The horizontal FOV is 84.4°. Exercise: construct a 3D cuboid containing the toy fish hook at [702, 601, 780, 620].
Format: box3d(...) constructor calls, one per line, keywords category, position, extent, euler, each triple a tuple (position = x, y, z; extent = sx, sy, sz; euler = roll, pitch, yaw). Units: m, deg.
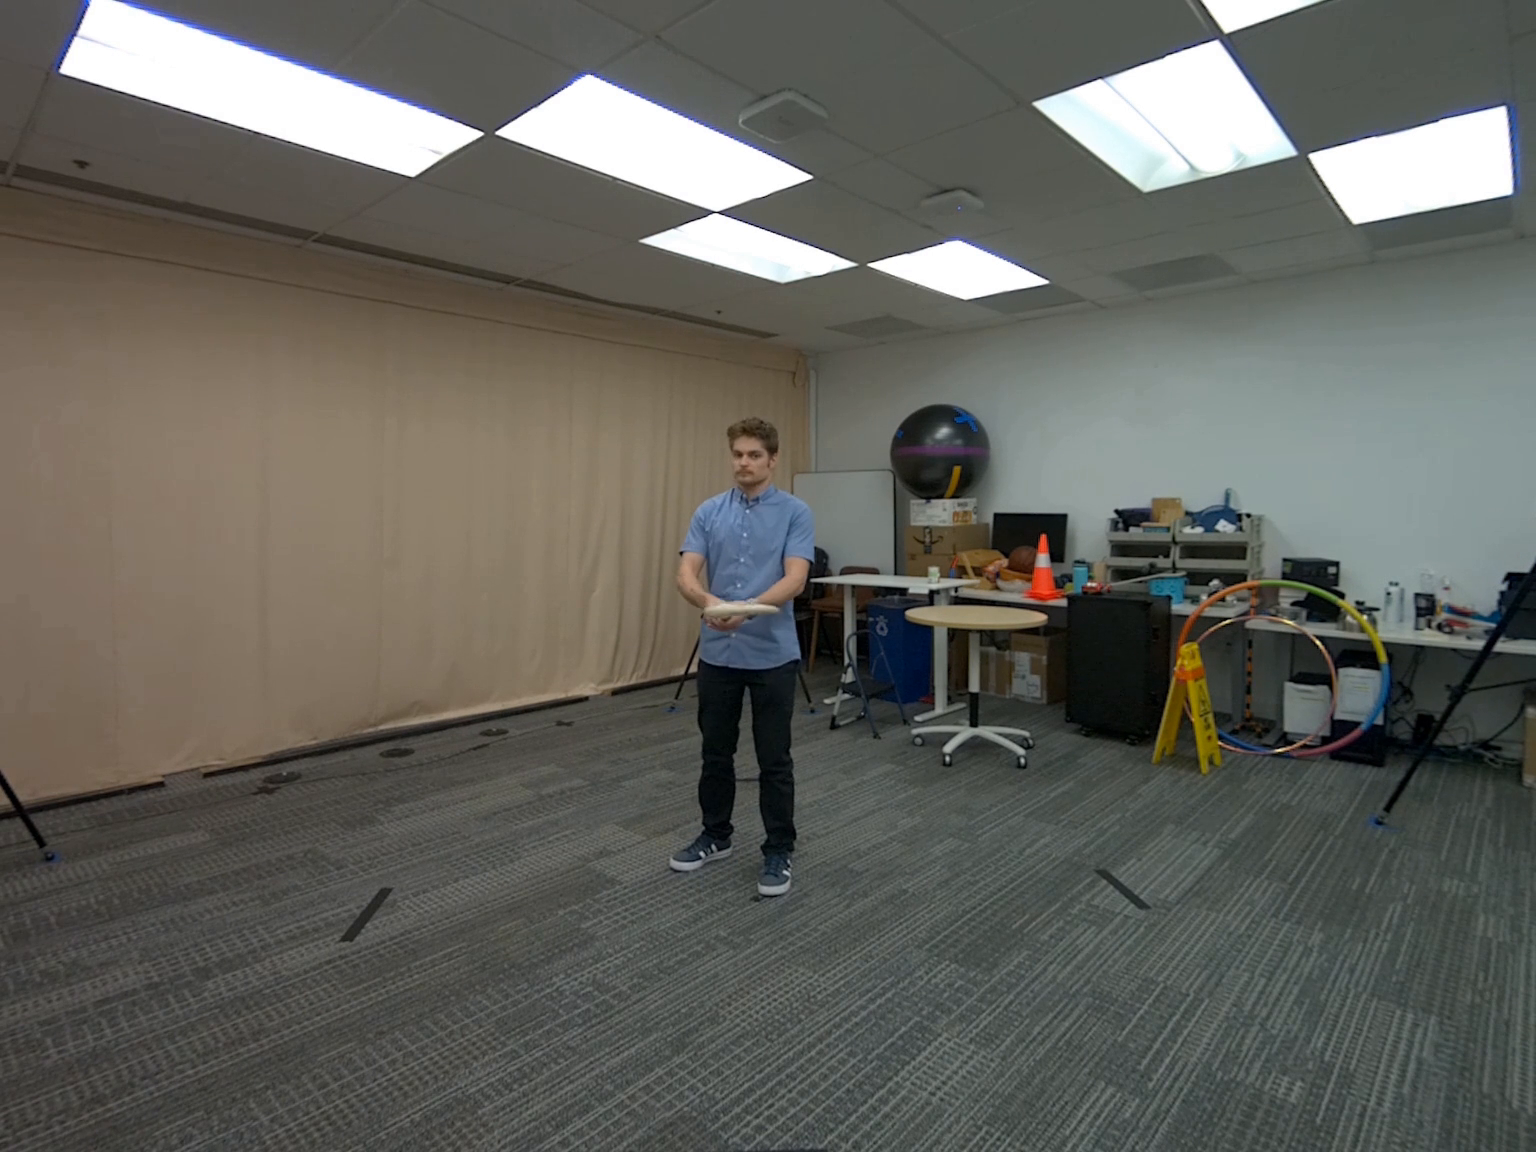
box3d(category="toy fish hook", position=(-0.077, 0.125, 2.705), extent=(0.225, 0.048, 0.503), euler=(2, -6, 1))
